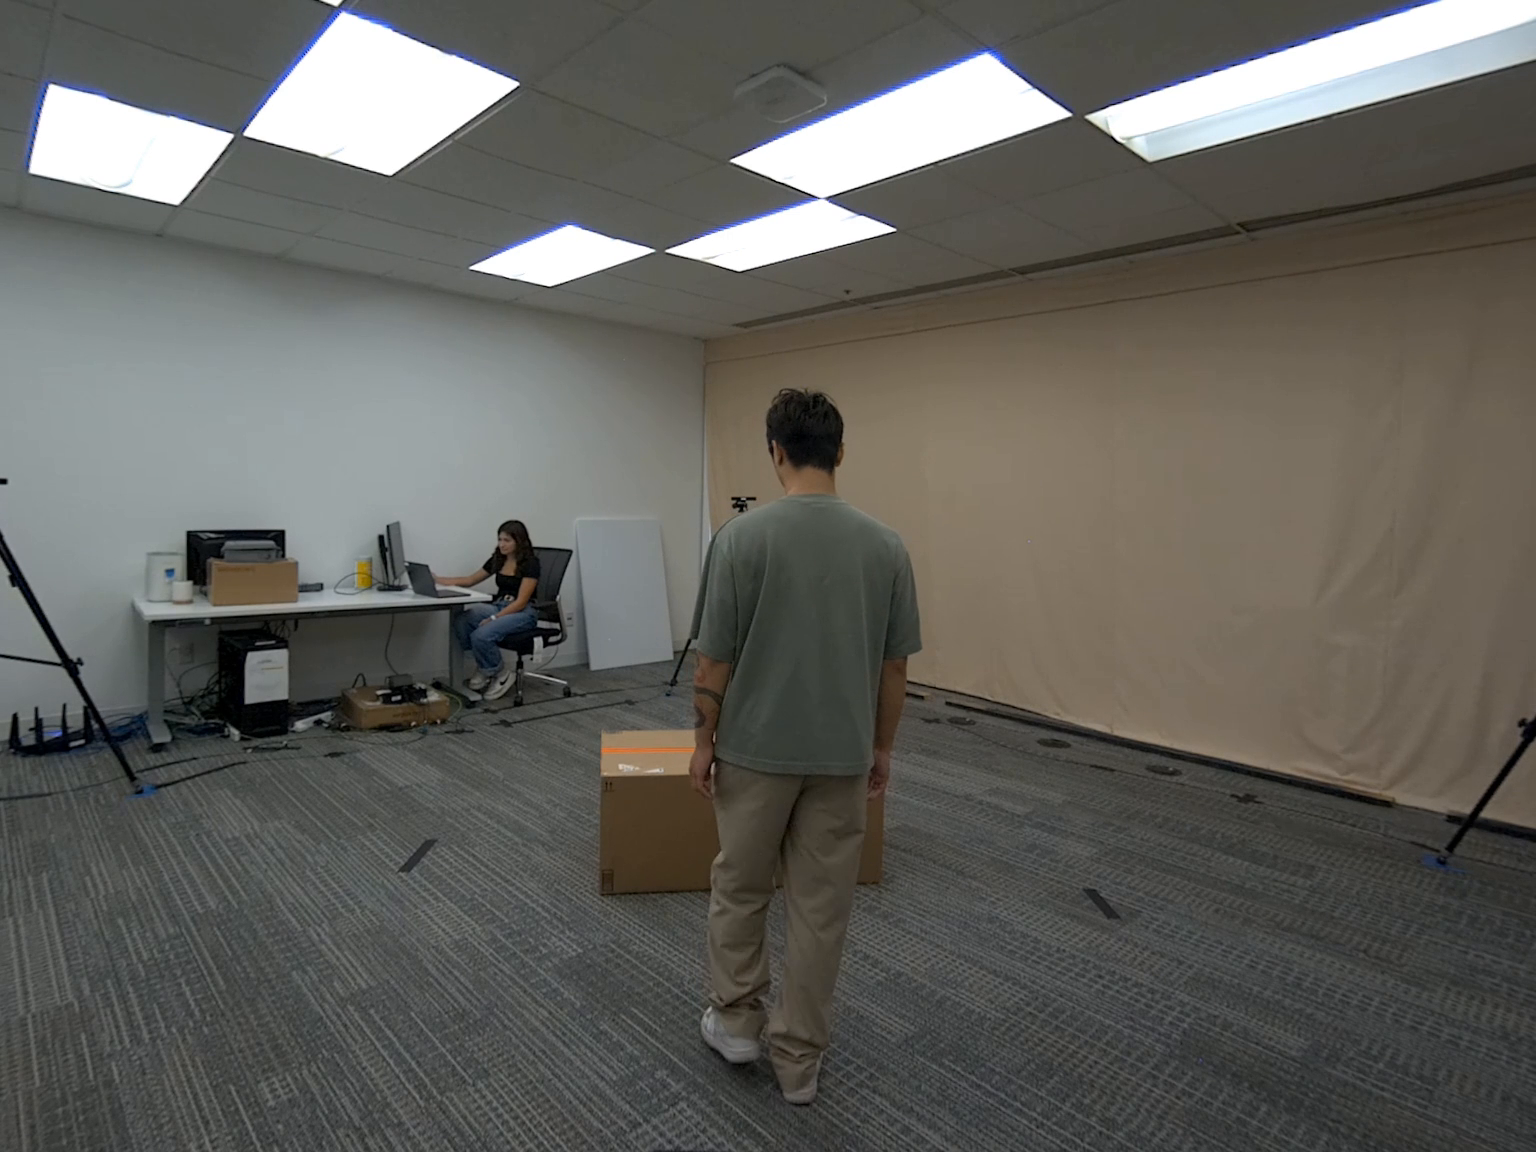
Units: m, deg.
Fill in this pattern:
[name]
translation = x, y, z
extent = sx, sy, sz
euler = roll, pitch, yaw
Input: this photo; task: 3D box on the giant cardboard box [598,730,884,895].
[giant cardboard box]
translation = -0.142, 0.874, 3.270
extent = 1.018, 0.425, 0.583
euler = 1, 5, -9
